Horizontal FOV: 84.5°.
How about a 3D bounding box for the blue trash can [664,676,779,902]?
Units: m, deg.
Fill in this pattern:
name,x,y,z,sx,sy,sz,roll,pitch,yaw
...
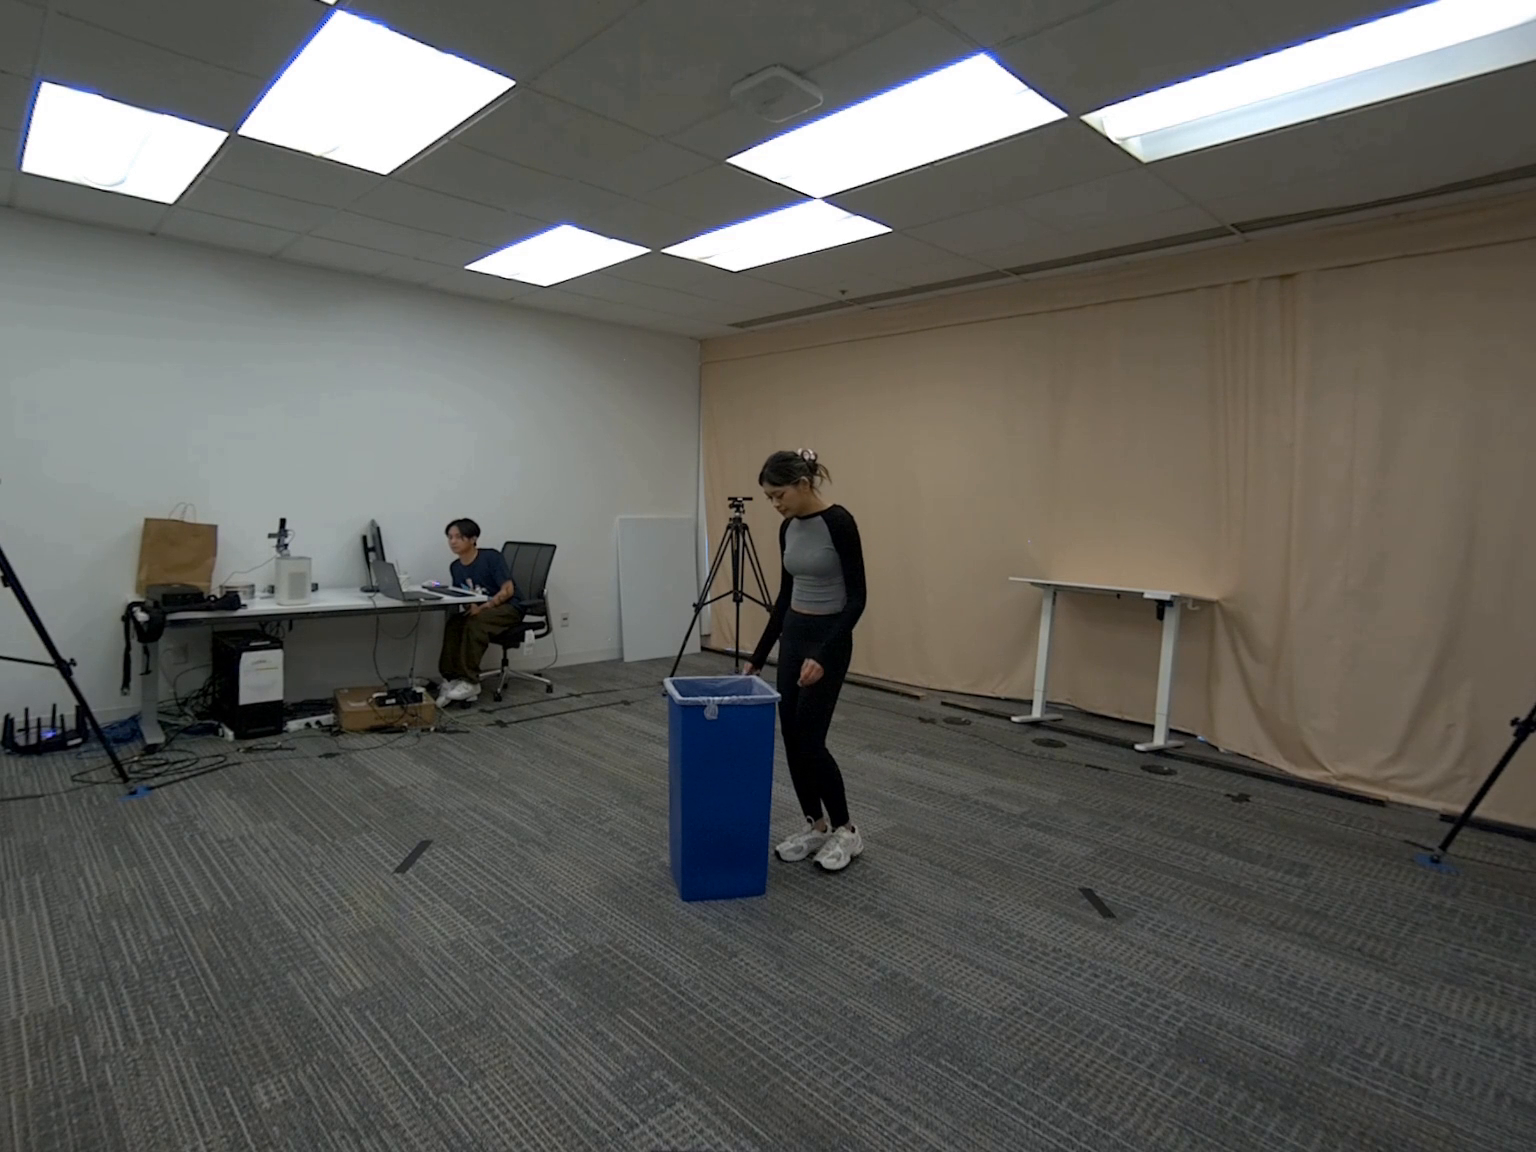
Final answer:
name,x,y,z,sx,sy,sz,roll,pitch,yaw
blue trash can,-0.179,0.755,3.056,0.370,0.712,0.383,0,3,-15
